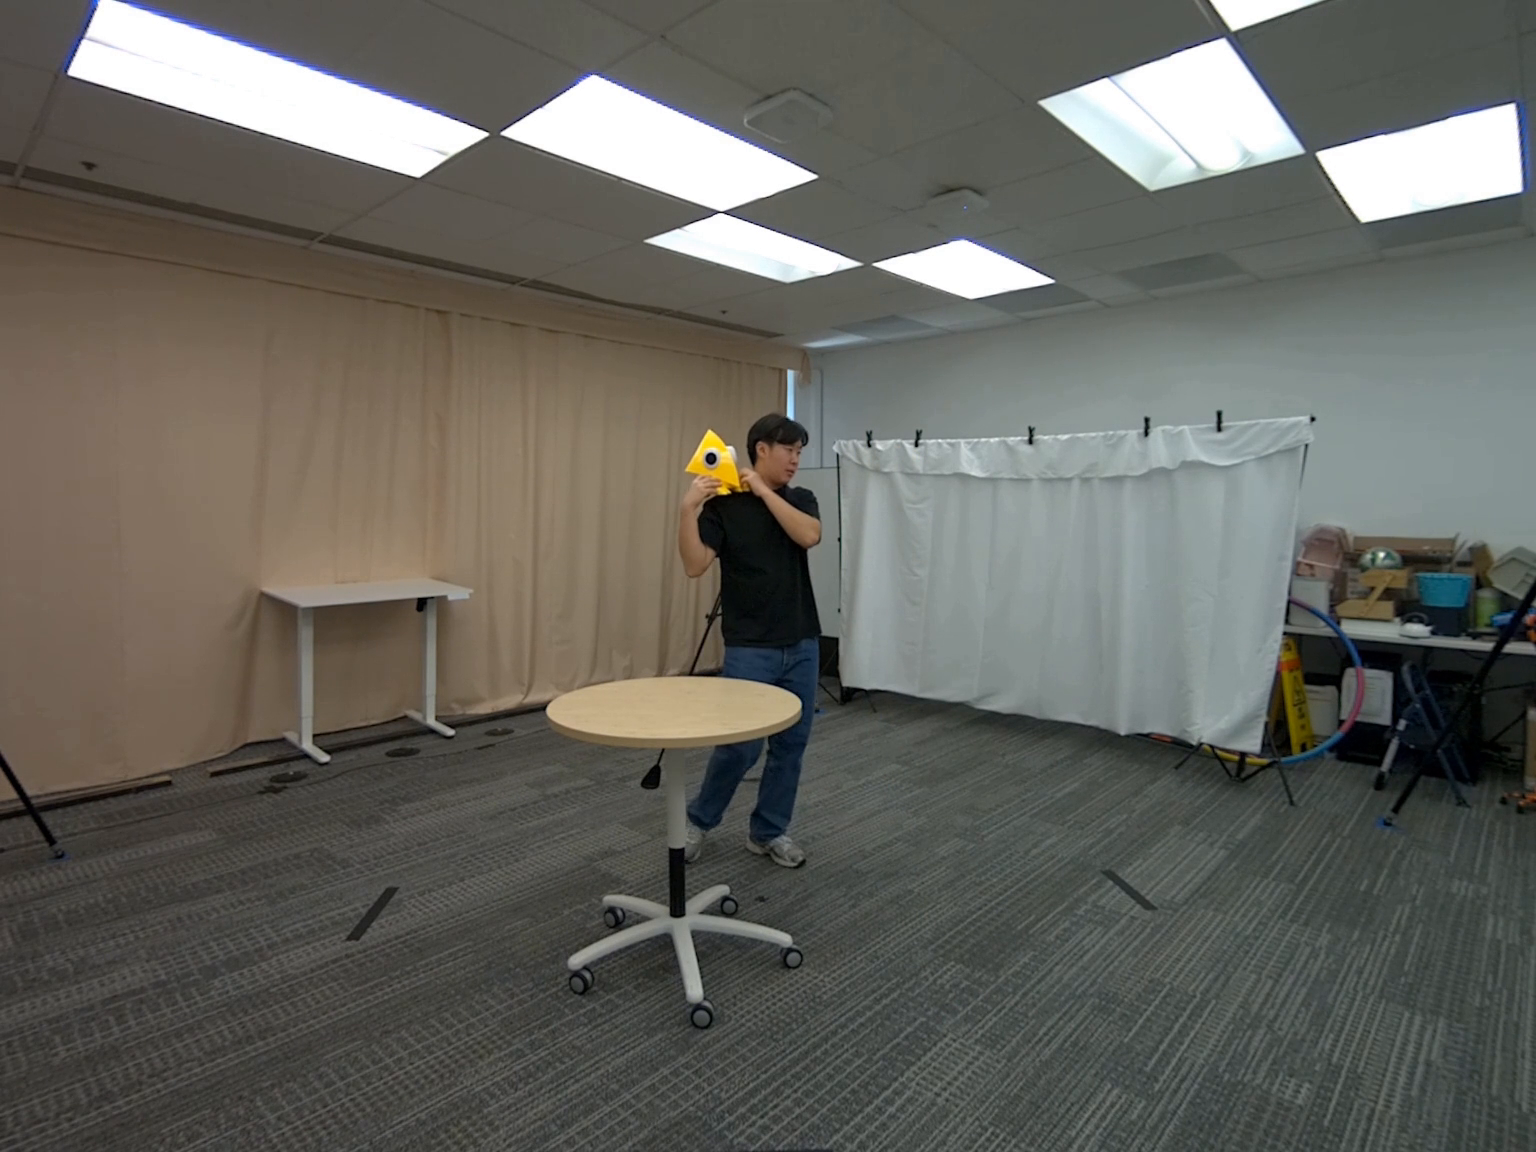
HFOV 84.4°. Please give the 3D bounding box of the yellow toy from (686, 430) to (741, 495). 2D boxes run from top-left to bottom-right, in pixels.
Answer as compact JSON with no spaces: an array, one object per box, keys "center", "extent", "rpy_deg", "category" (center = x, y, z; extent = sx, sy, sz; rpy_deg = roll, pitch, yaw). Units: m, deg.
[{"center":[-0.181,-0.440,3.204],"extent":[0.200,0.229,0.199],"rpy_deg":[11,16,41],"category":"yellow toy"}]
